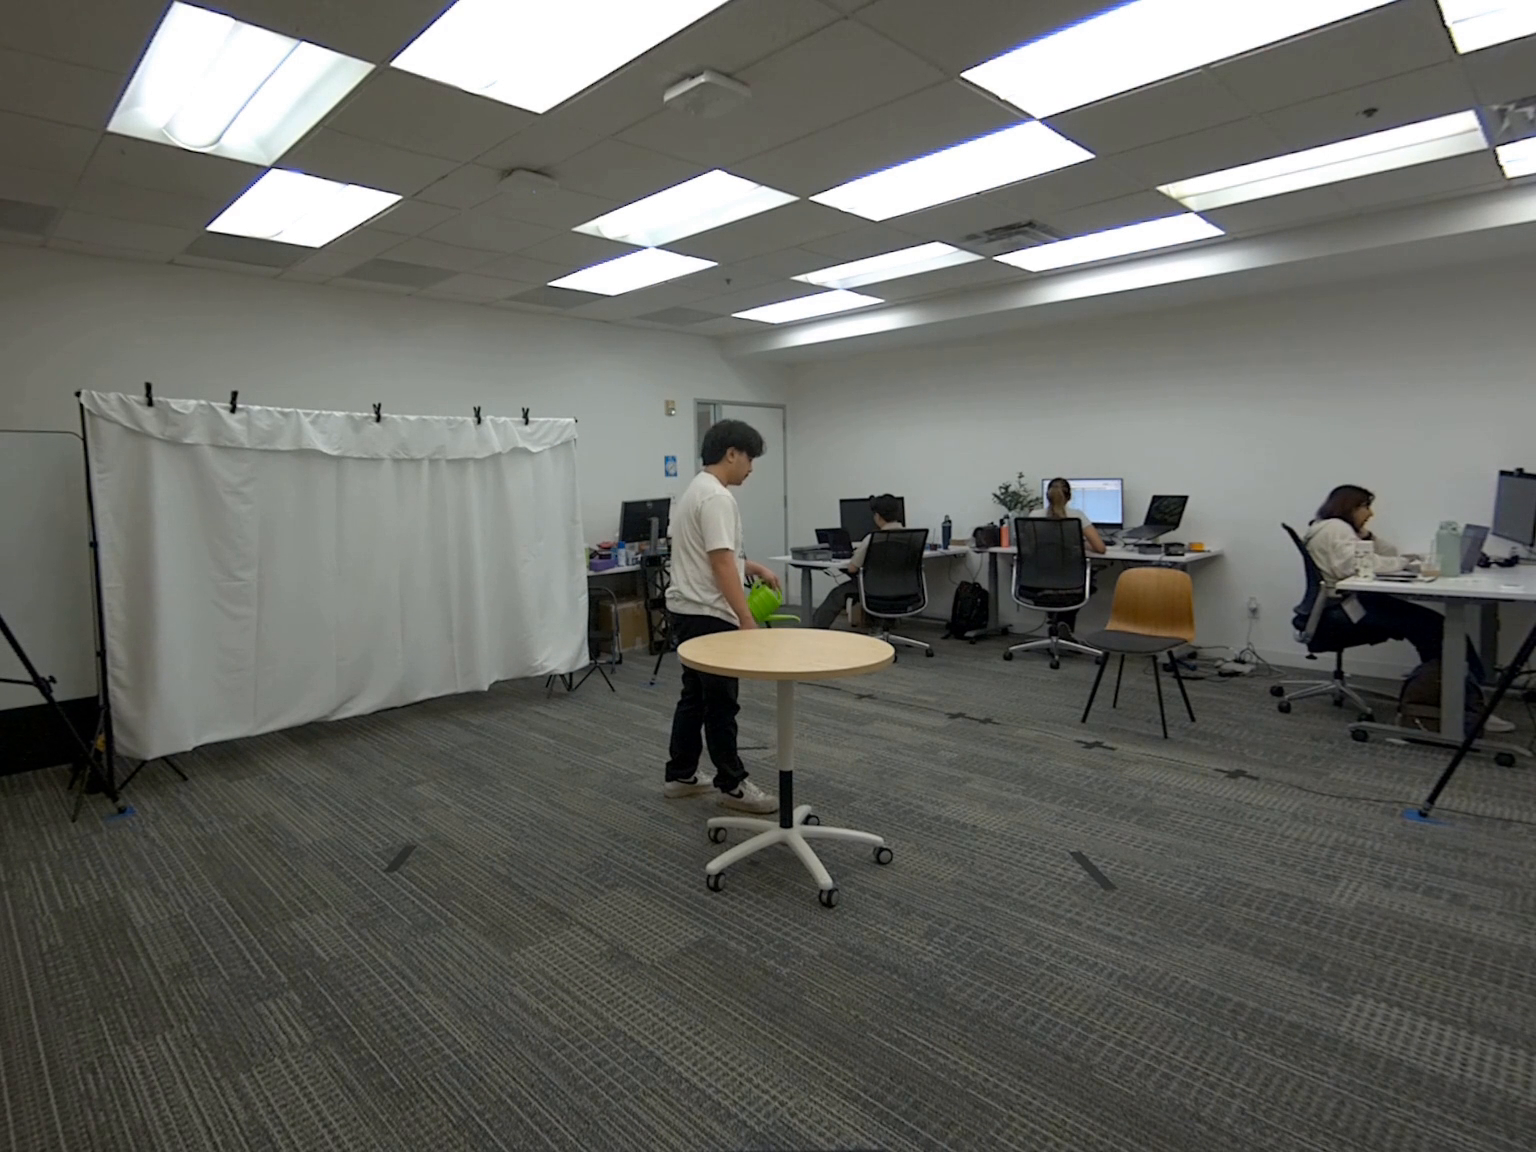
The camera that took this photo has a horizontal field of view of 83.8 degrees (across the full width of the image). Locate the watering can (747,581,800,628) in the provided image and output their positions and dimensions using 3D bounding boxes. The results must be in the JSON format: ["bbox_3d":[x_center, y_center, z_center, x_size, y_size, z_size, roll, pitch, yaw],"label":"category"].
[{"bbox_3d":[0.010,0.152,3.960,0.176,0.279,0.098,-37,-1,-9],"label":"watering can"}]
